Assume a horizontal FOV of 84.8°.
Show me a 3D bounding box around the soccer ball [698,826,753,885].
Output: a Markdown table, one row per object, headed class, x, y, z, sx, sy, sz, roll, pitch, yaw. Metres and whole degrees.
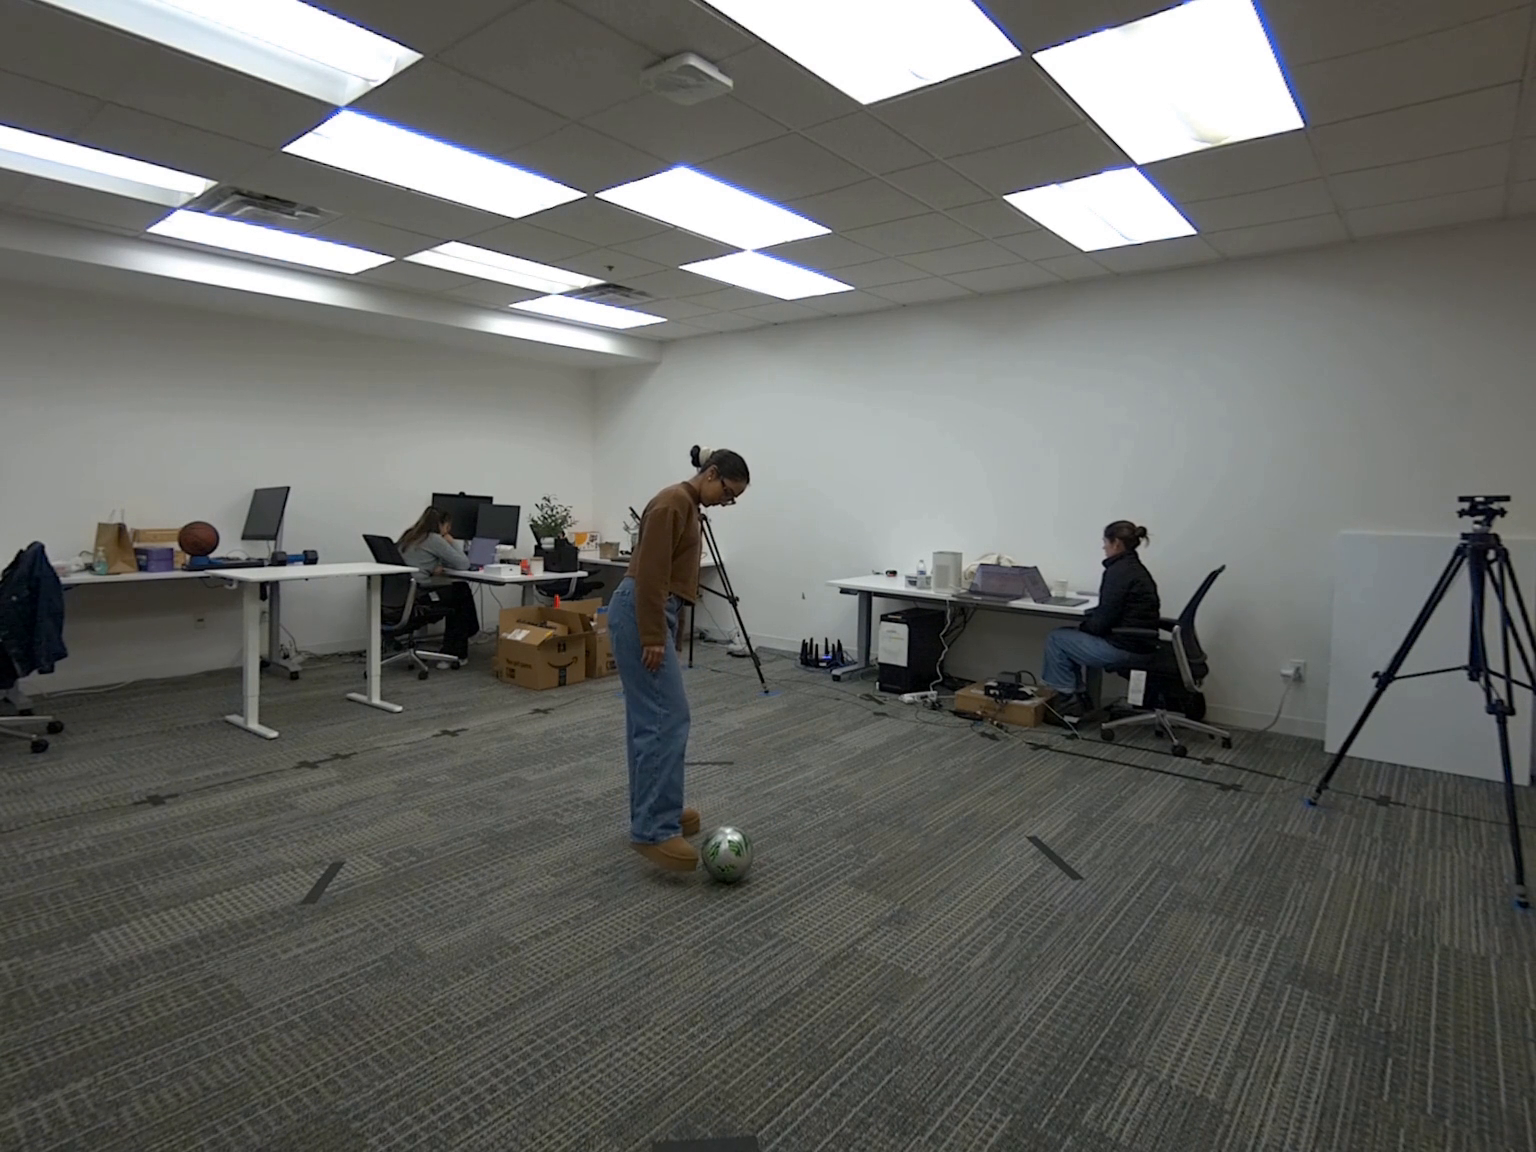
| class | x | y | z | sx | sy | sz | roll | pitch | yaw |
| --- | --- | --- | --- | --- | --- | --- | --- | --- | --- |
| soccer ball | -0.146 | 0.985 | 3.022 | 0.187 | 0.187 | 0.188 | 1 | 4 | -2 |
